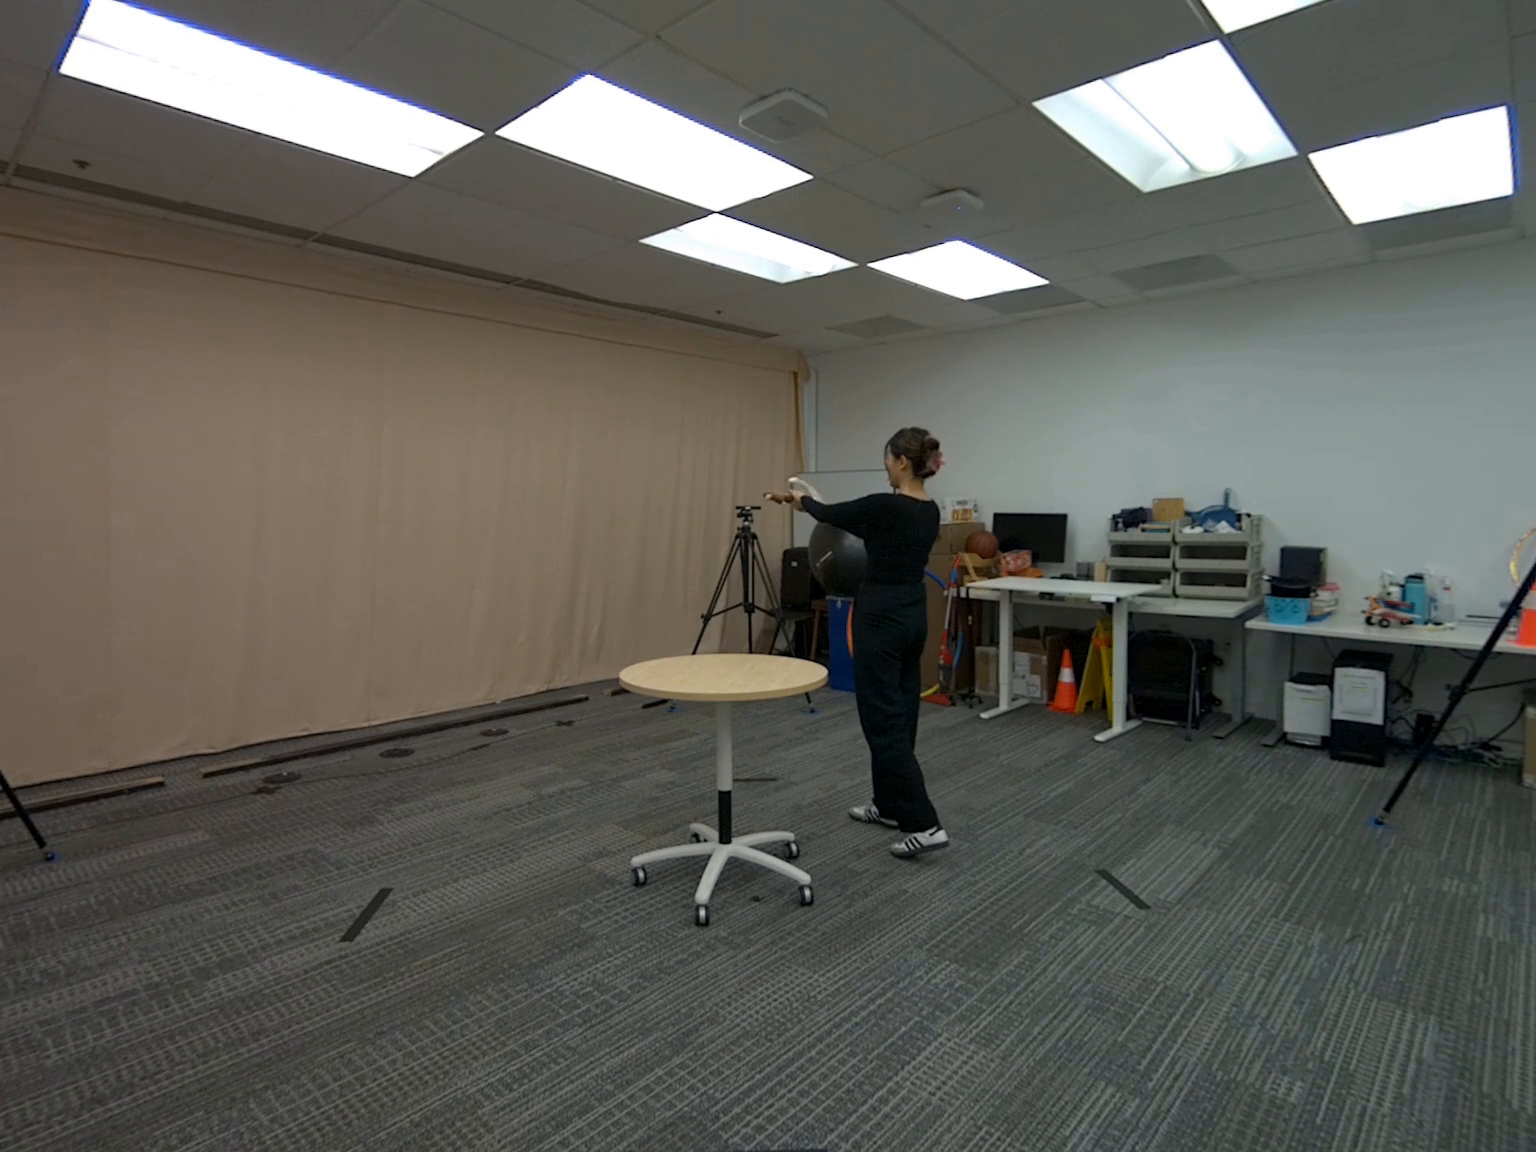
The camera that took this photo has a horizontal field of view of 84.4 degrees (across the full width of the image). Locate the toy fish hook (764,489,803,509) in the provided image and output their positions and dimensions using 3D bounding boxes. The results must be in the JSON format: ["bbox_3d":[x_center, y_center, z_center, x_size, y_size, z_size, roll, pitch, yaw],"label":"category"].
[{"bbox_3d":[0.117,-0.380,3.942,0.048,0.230,0.490,-46,-27,25],"label":"toy fish hook"}]
